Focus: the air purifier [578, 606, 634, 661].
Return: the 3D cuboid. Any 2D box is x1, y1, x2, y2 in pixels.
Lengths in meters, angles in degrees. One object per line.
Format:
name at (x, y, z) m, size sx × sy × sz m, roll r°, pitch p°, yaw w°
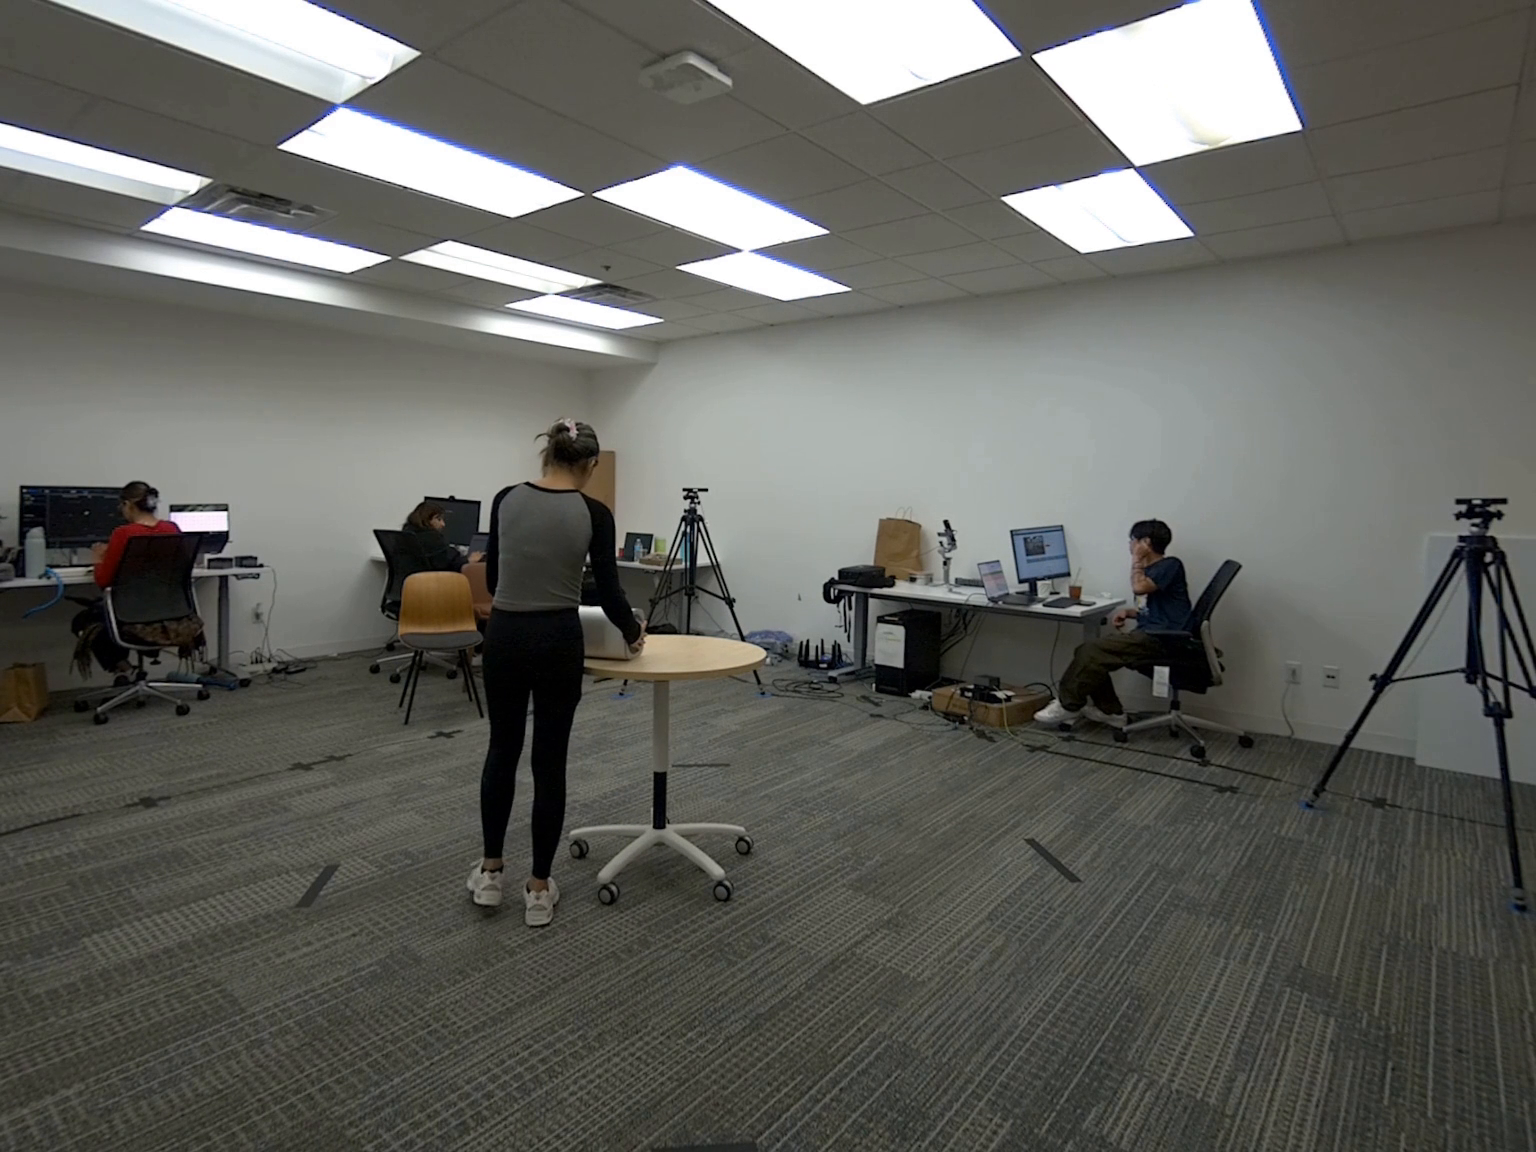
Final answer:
air purifier at (-0.600, 0.194, 2.996) m, size 0.270 × 0.171 × 0.169 m, roll 1°, pitch 6°, yaw 15°
